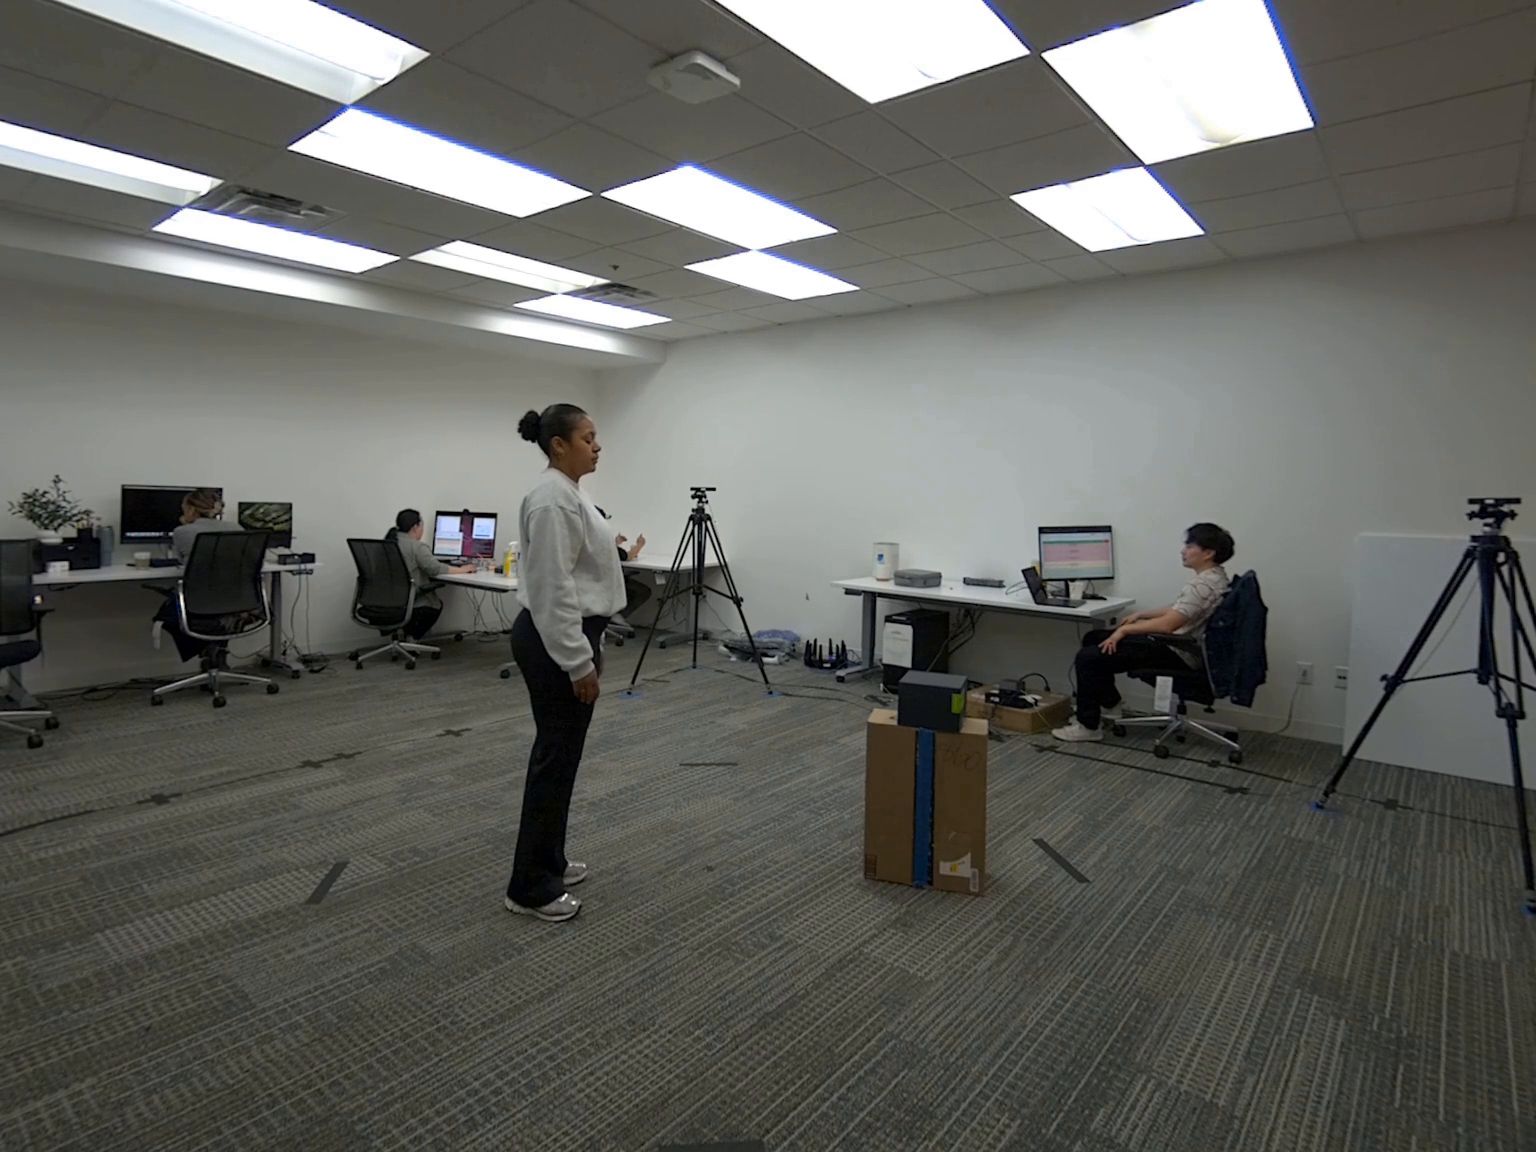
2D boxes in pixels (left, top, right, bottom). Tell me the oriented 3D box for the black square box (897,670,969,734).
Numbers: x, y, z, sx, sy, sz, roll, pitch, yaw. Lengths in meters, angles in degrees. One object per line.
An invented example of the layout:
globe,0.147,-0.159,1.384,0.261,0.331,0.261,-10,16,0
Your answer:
black square box,0.587,0.445,3.062,0.222,0.155,0.224,3,4,19
